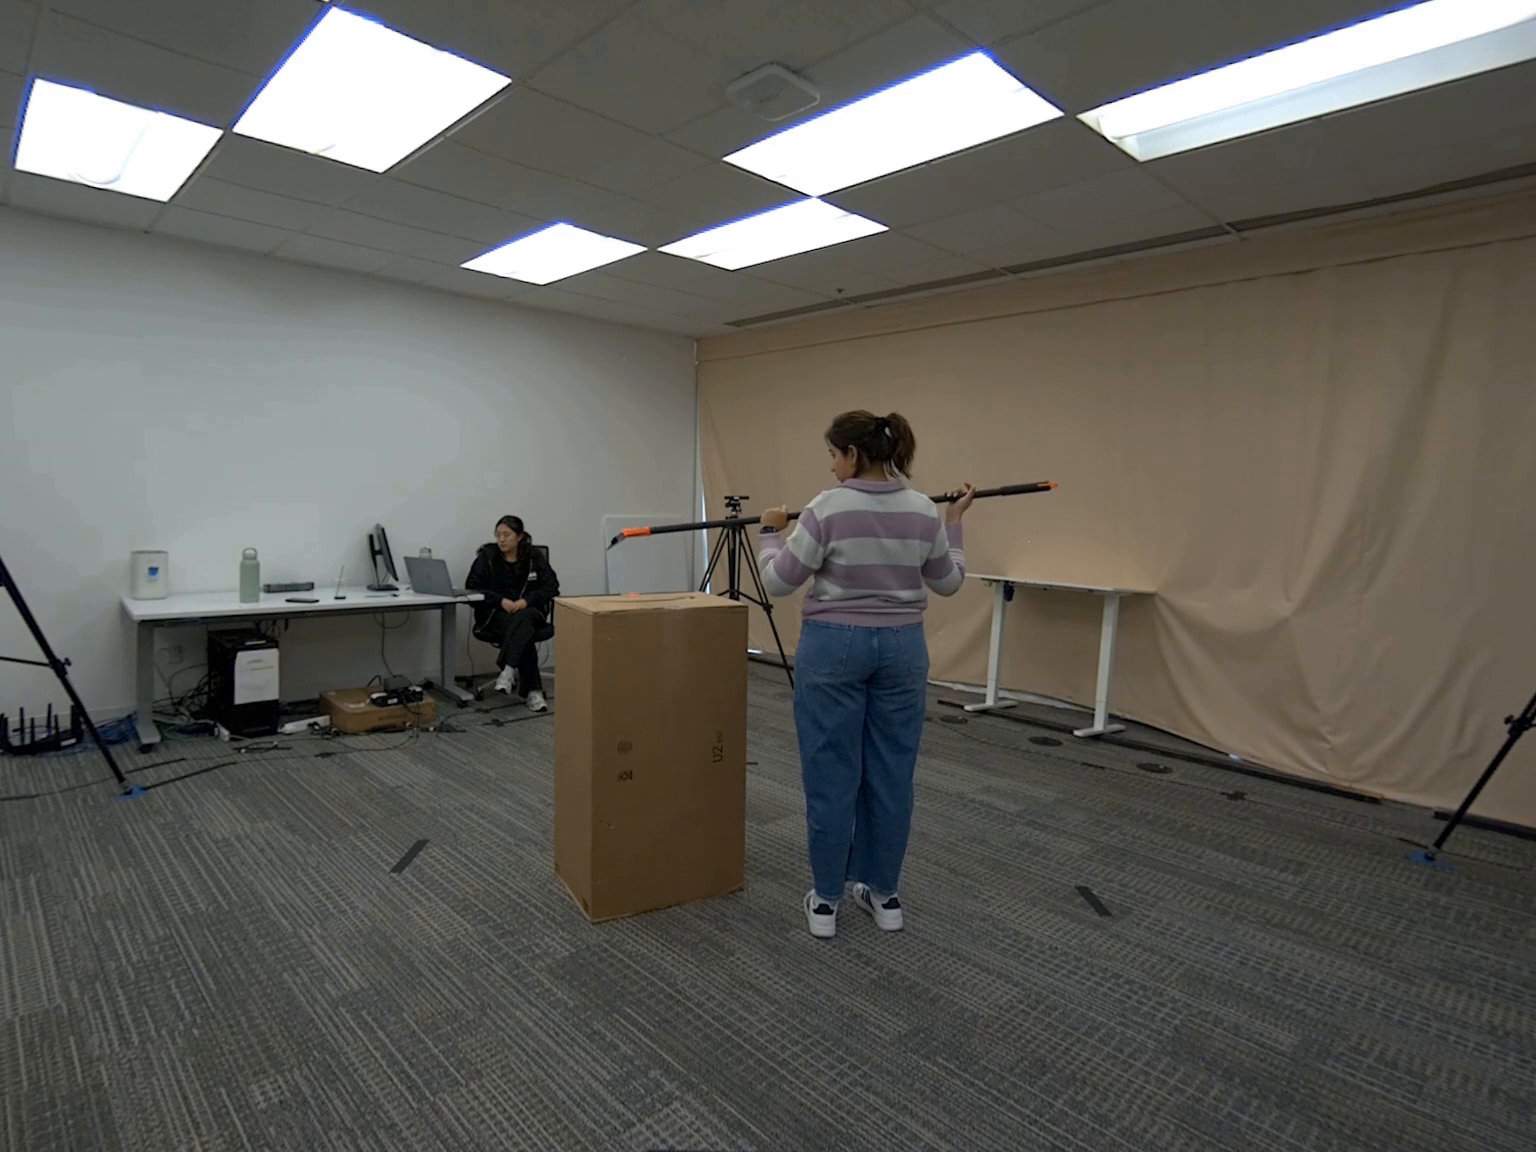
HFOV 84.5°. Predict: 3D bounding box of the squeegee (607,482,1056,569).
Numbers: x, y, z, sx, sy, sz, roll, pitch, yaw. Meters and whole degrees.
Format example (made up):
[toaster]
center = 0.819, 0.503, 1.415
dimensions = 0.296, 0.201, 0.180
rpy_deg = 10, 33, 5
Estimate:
[squeegee]
center = 0.209, -0.224, 2.951
dimensions = 1.541, 0.052, 0.440
rpy_deg = -8, 12, 3
